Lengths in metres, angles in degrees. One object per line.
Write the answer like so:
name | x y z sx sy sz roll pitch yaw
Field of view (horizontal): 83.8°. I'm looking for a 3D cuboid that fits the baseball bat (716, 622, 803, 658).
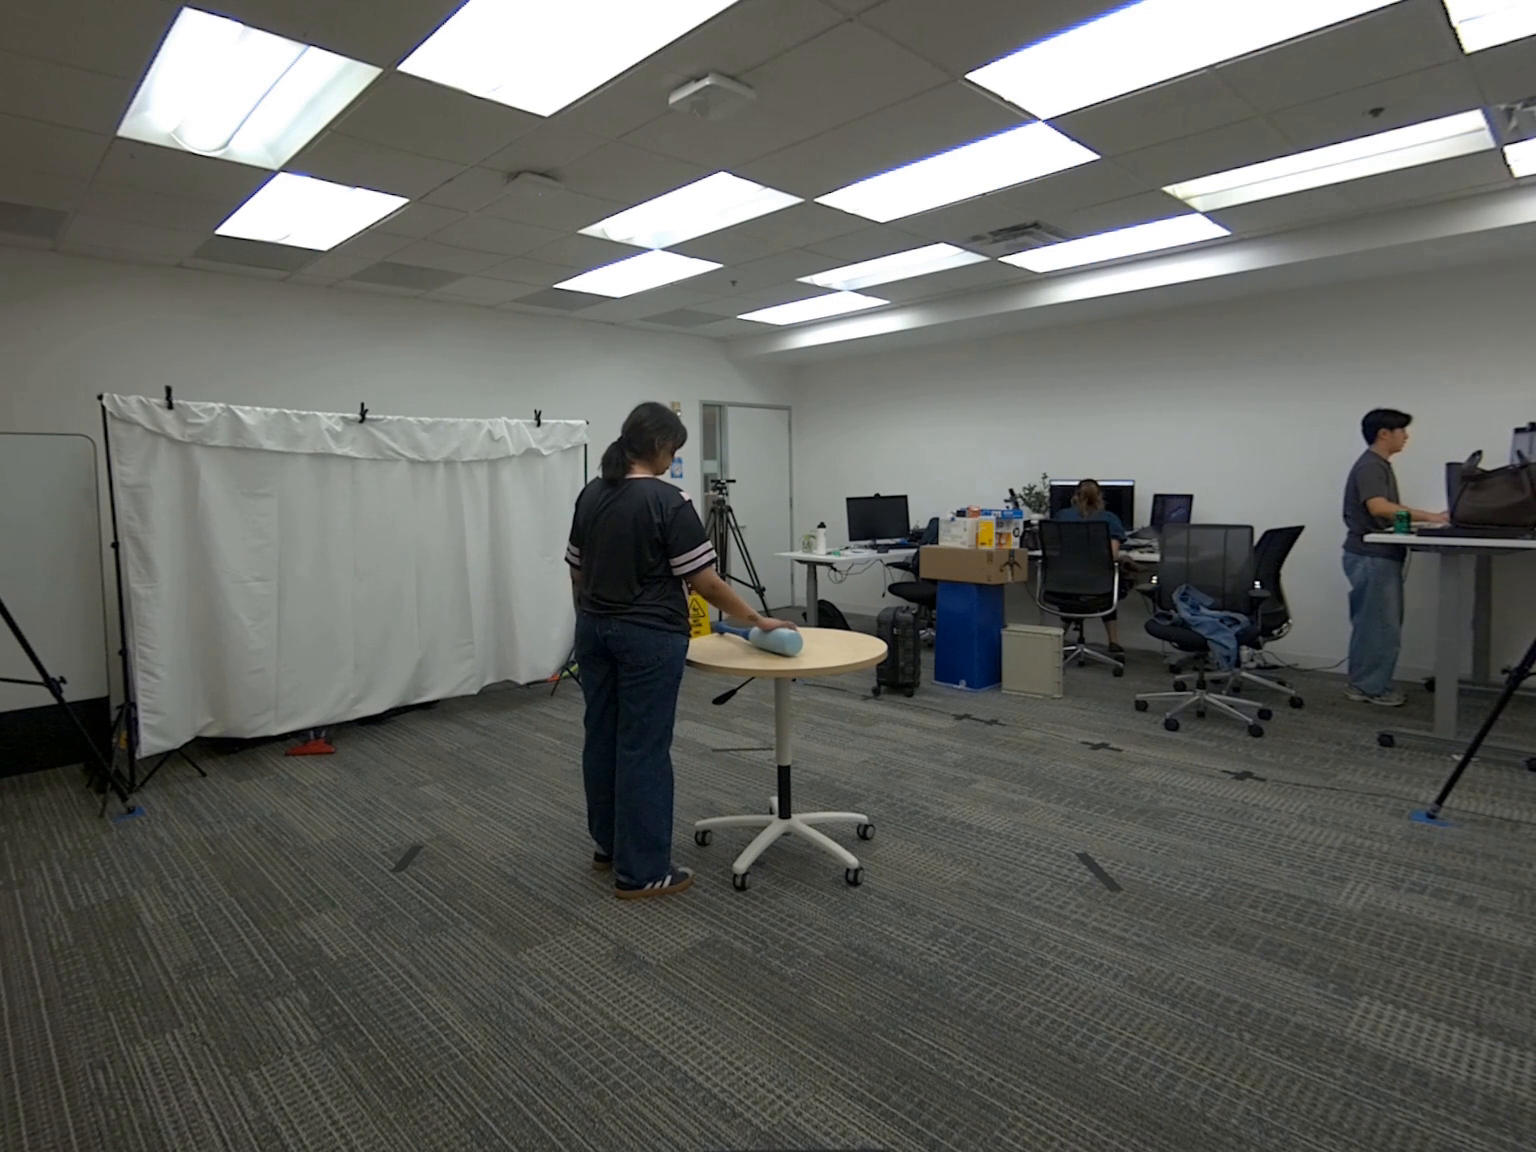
baseball bat | -0.053 0.224 3.159 0.087 0.089 0.556 -4 4 -29
